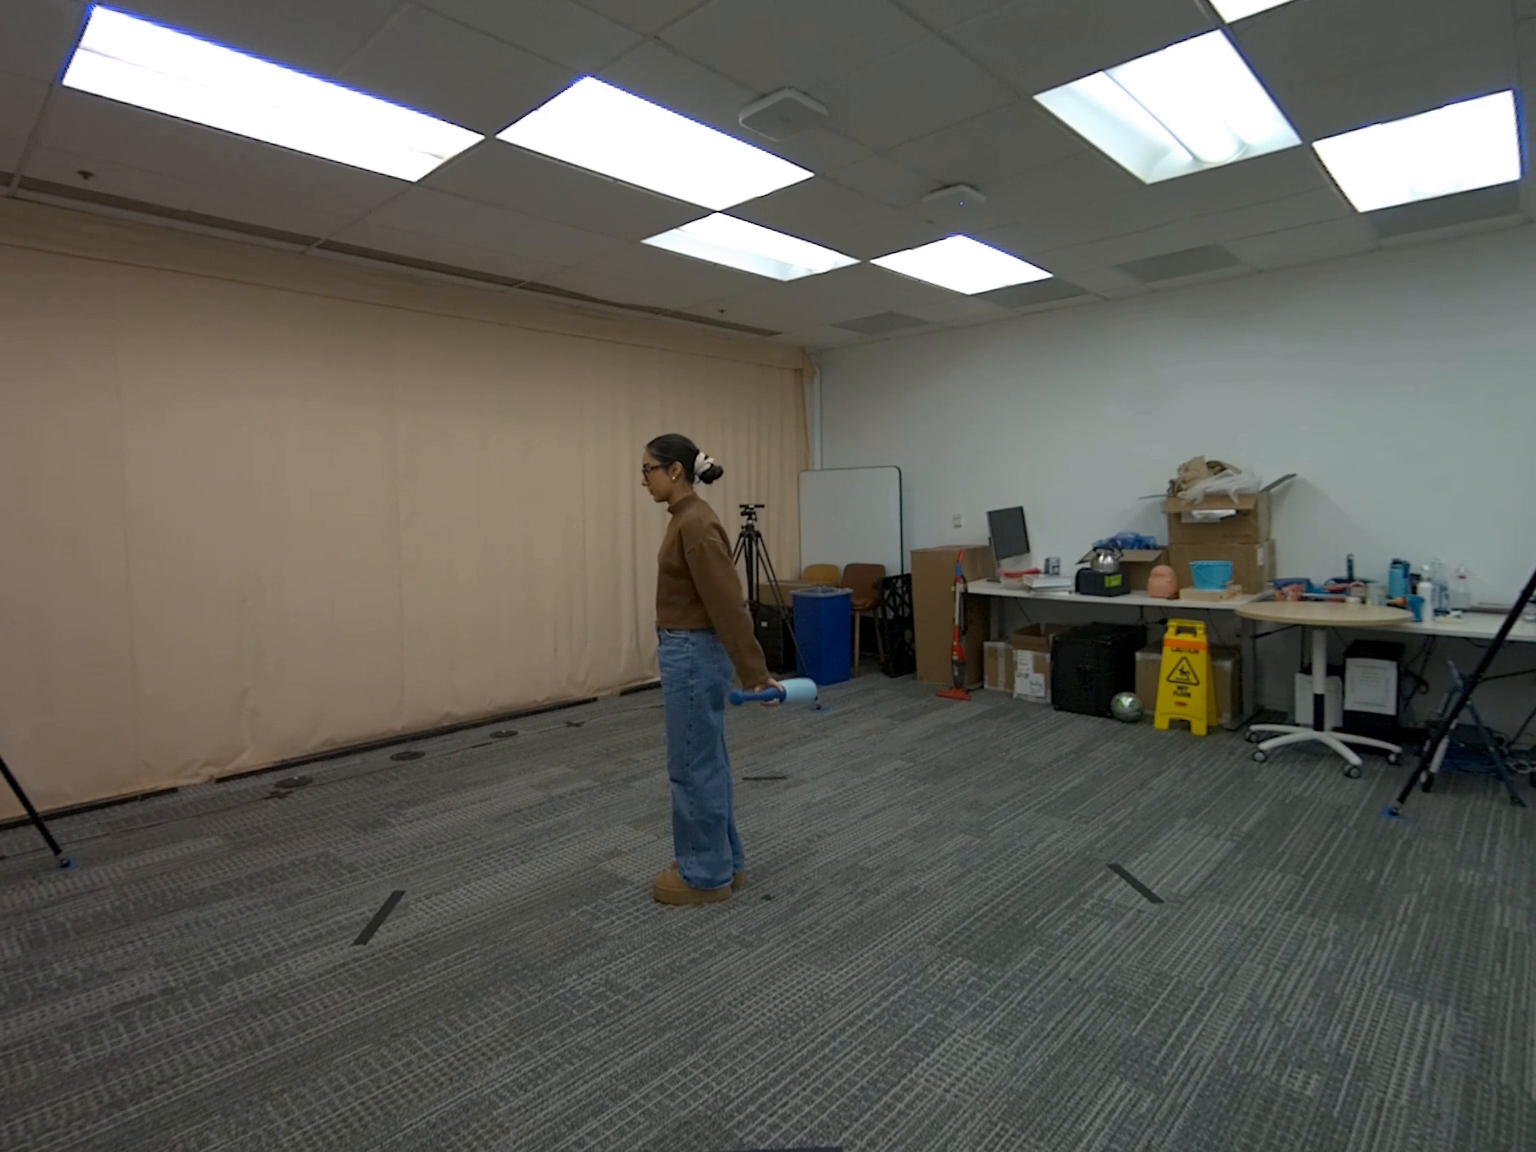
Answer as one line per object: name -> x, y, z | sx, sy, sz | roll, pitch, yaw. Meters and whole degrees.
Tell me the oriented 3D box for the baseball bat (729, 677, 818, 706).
baseball bat -> 0.005, 0.393, 2.777 | 0.091, 0.089, 0.527 | 1, -3, 28
